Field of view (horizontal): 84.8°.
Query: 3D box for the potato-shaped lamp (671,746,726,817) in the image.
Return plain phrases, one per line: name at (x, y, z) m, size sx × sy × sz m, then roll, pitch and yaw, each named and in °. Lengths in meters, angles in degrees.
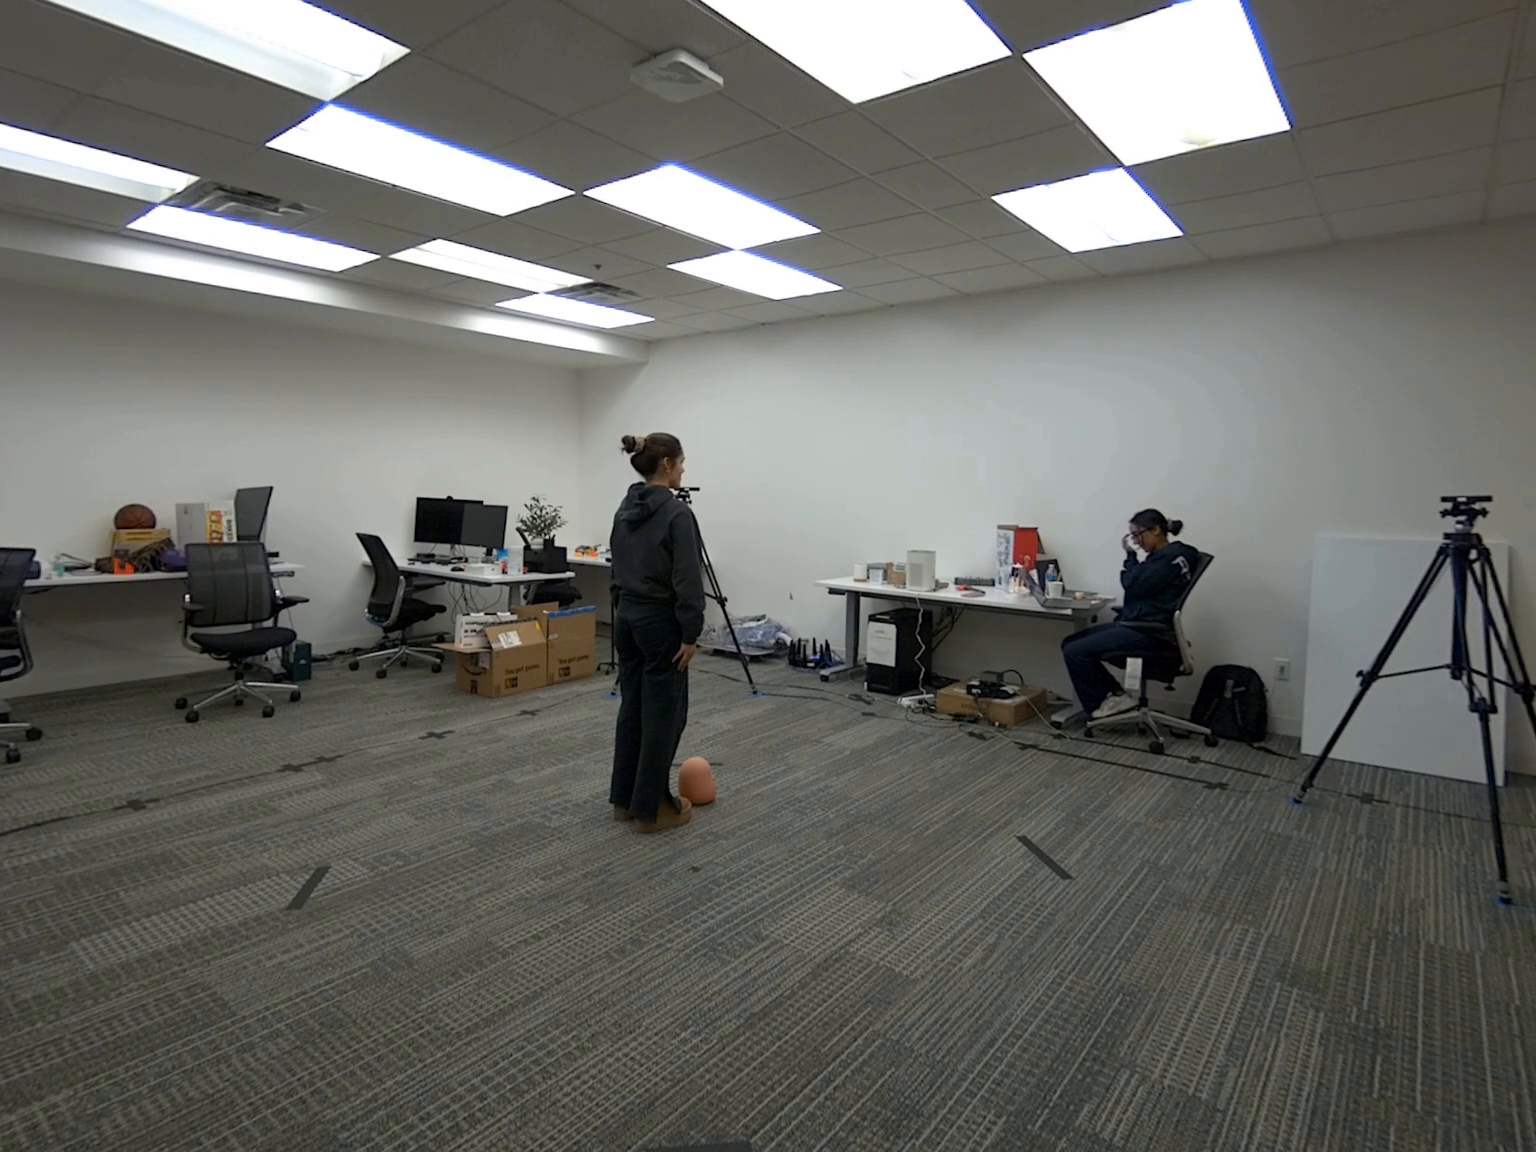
potato-shaped lamp at (-0.312, 0.918, 3.777) m, size 0.177 × 0.193 × 0.164 m, roll 16°, pitch 34°, yaw 26°
